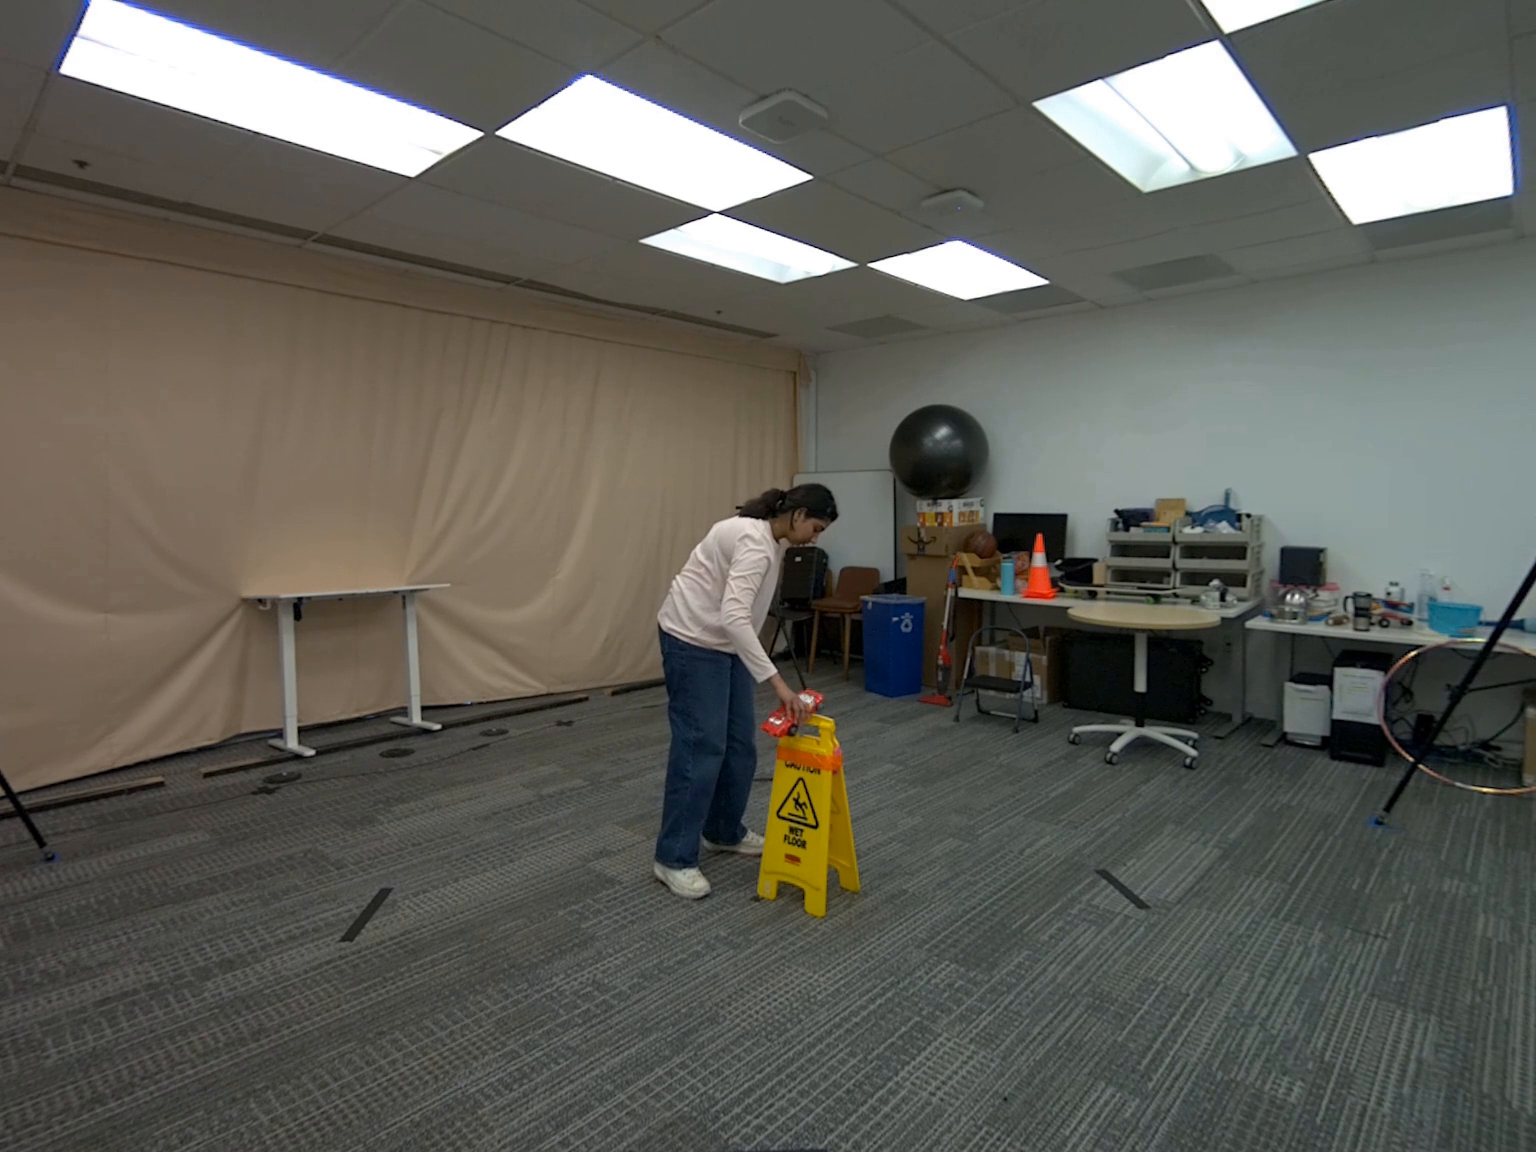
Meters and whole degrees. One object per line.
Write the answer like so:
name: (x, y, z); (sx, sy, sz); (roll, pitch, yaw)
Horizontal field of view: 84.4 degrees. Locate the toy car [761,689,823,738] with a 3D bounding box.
toy car: (0.090, 0.495, 2.981); (0.249, 0.082, 0.135); (-25, 25, -33)
